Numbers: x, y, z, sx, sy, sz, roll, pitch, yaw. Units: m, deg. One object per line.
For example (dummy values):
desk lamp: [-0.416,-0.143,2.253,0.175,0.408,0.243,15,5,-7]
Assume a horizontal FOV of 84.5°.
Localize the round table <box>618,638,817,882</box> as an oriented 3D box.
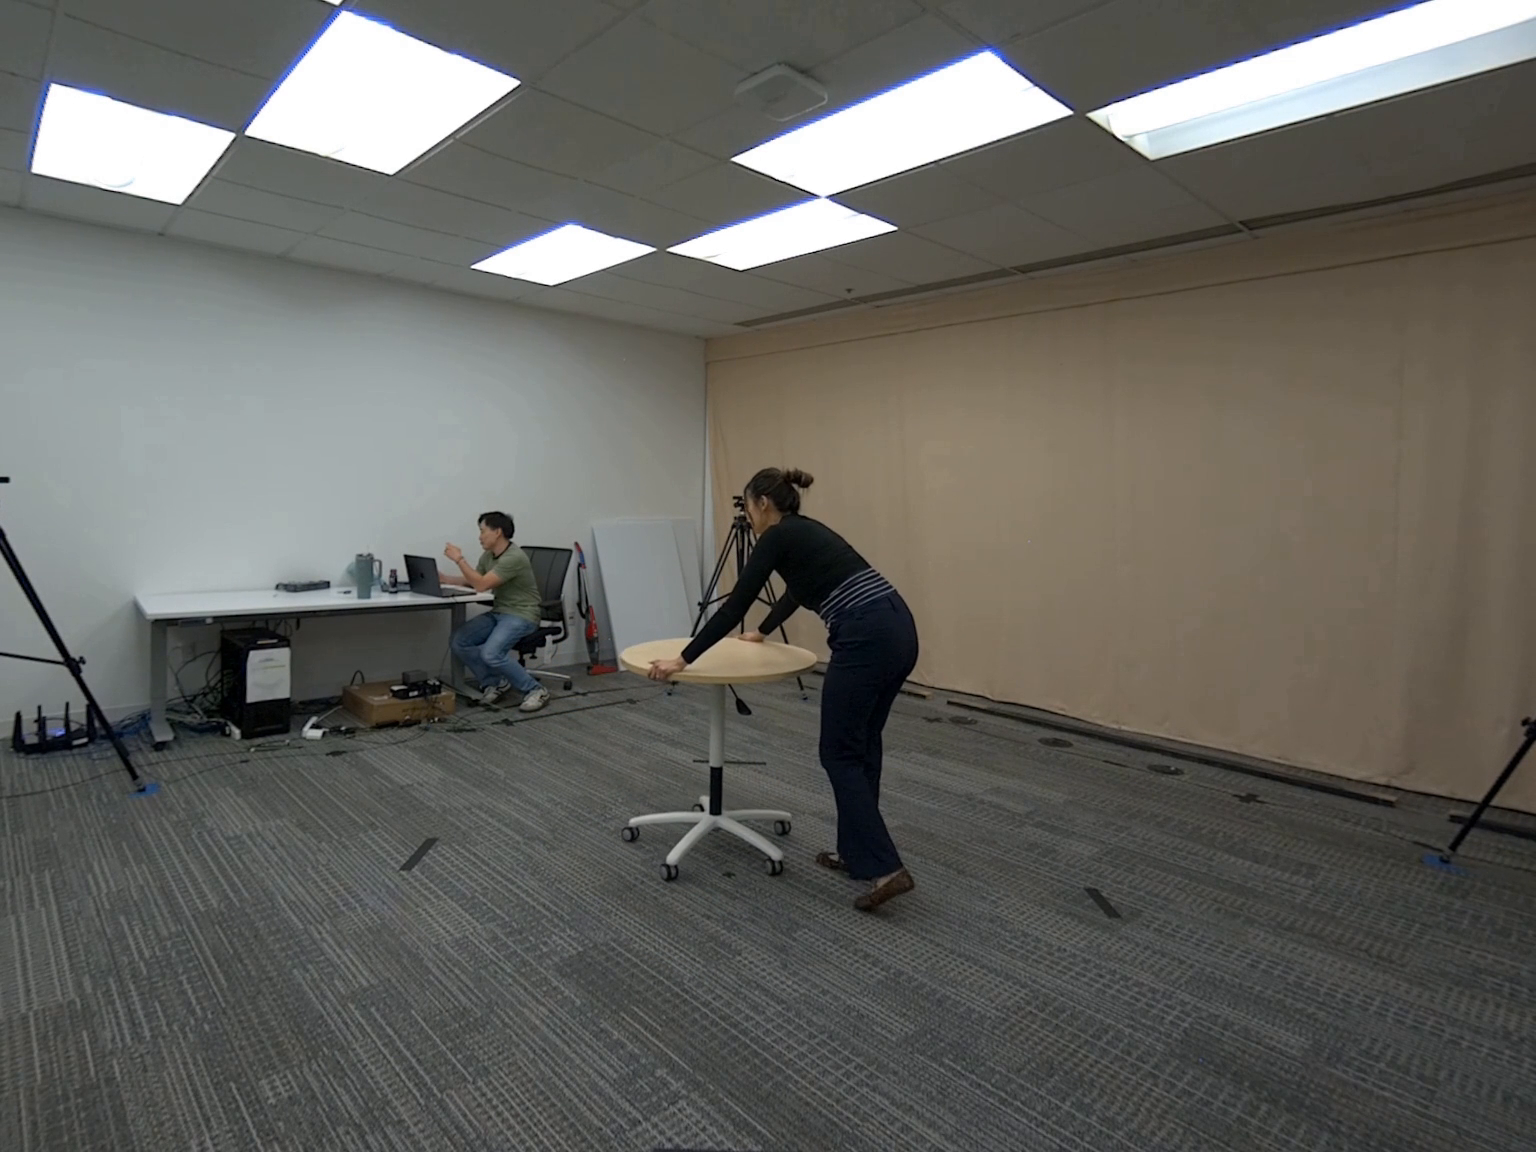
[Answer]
round table: [-0.221,0.698,3.316,0.763,0.792,0.767,1,4,-1]
